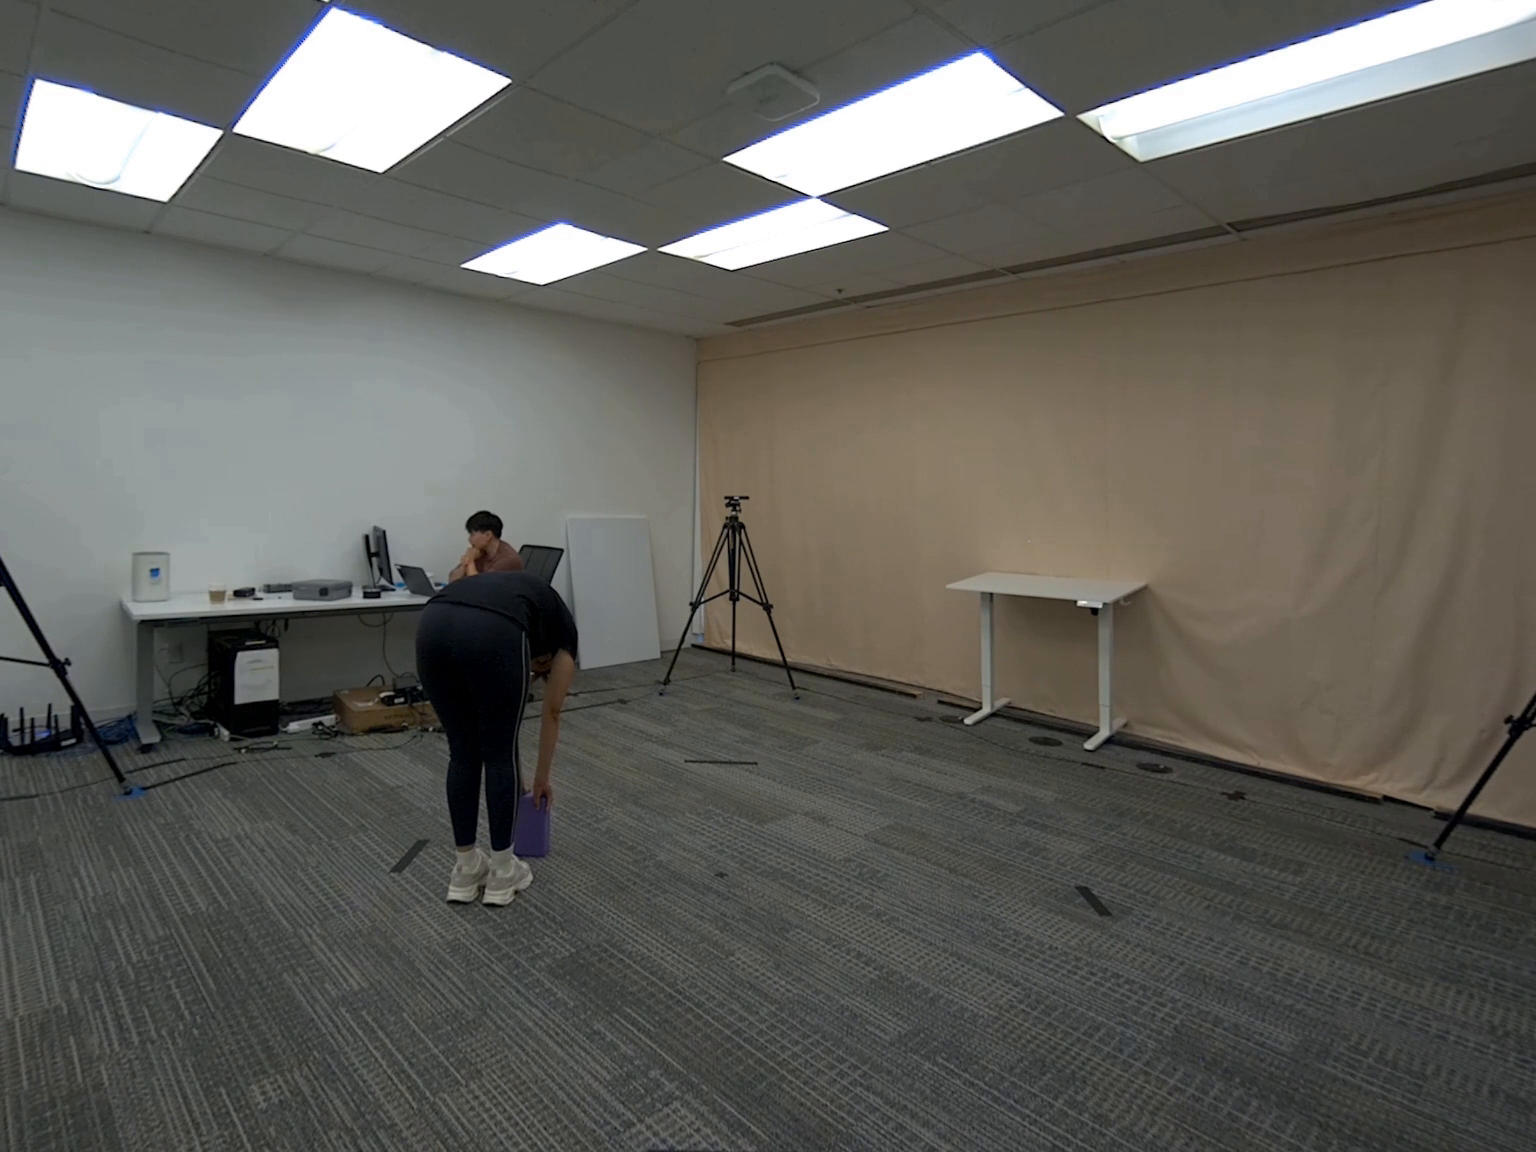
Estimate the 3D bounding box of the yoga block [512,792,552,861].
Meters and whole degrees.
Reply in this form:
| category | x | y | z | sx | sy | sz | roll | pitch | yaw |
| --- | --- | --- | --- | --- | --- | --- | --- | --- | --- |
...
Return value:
| category | x | y | z | sx | sy | sz | roll | pitch | yaw |
| --- | --- | --- | --- | --- | --- | --- | --- | --- | --- |
| yoga block | -0.929 | 0.966 | 3.253 | 0.149 | 0.229 | 0.076 | 4 | 4 | 4 |
